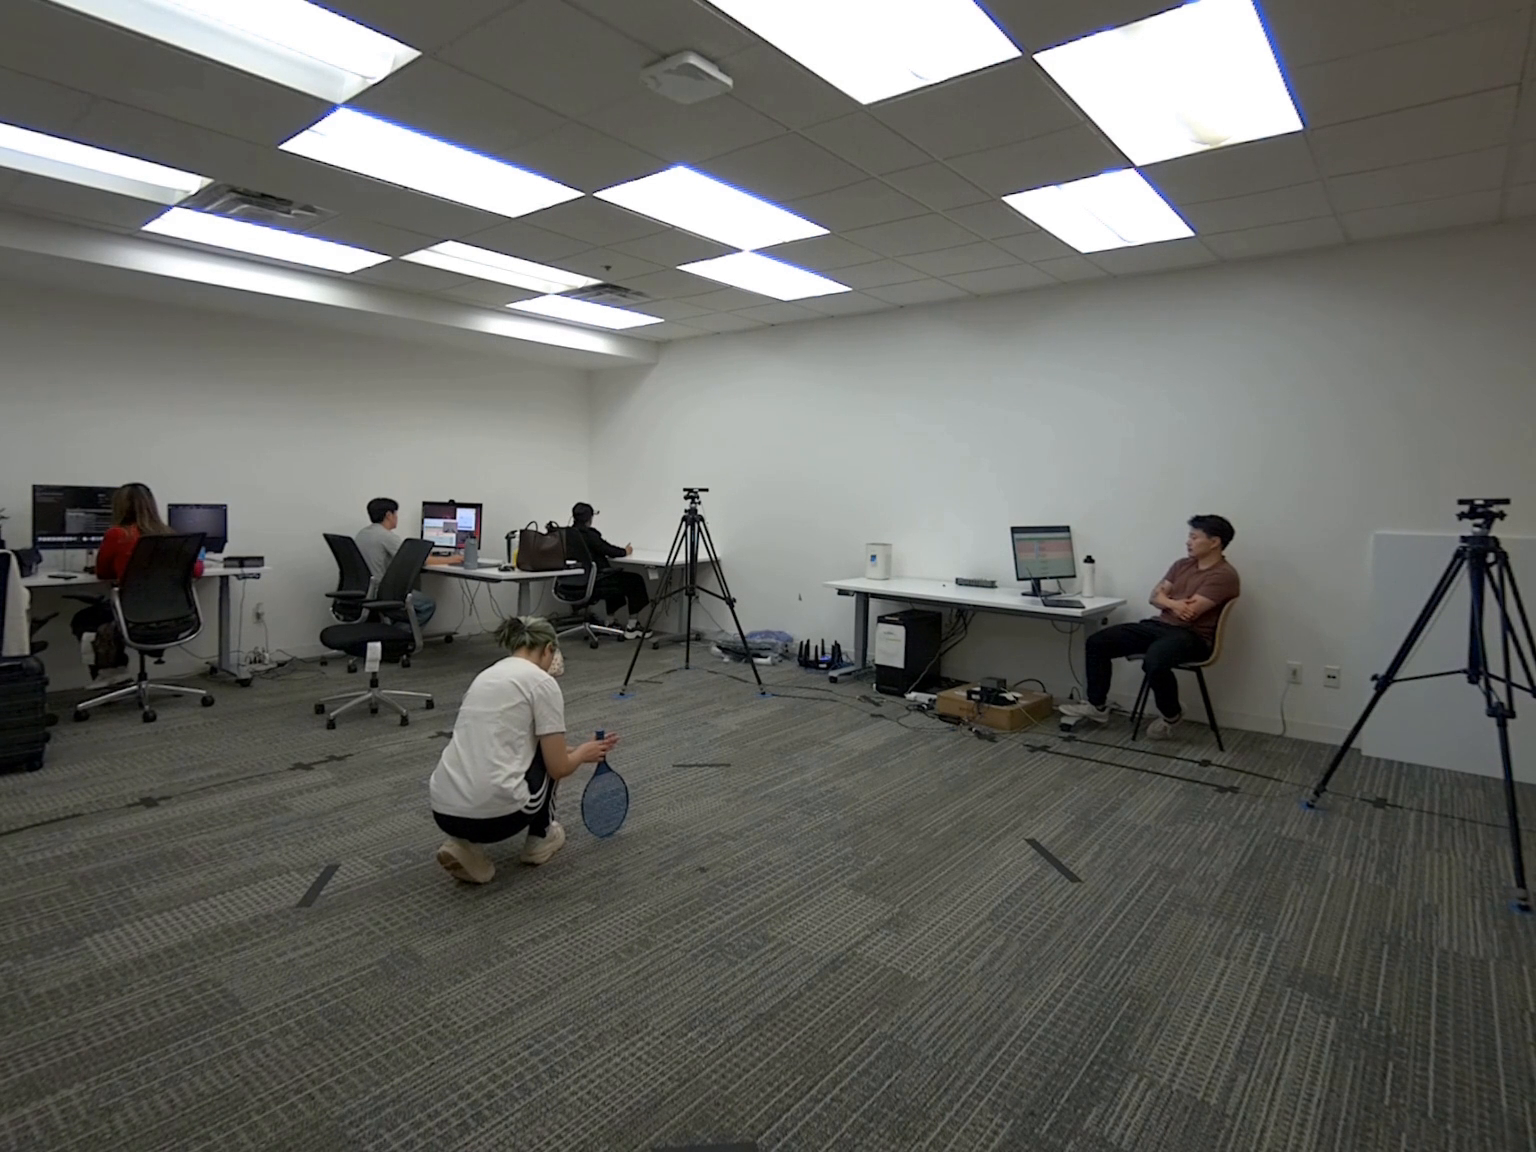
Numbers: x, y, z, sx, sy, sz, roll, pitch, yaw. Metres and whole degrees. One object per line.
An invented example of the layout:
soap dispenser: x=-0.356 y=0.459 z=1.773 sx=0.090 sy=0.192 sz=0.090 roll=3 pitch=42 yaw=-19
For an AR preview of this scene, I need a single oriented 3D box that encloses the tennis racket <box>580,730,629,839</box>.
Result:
tennis racket: x=-0.661 y=0.824 z=3.380 sx=0.207 sy=0.432 sz=0.033 roll=-3 pitch=3 yaw=-38
